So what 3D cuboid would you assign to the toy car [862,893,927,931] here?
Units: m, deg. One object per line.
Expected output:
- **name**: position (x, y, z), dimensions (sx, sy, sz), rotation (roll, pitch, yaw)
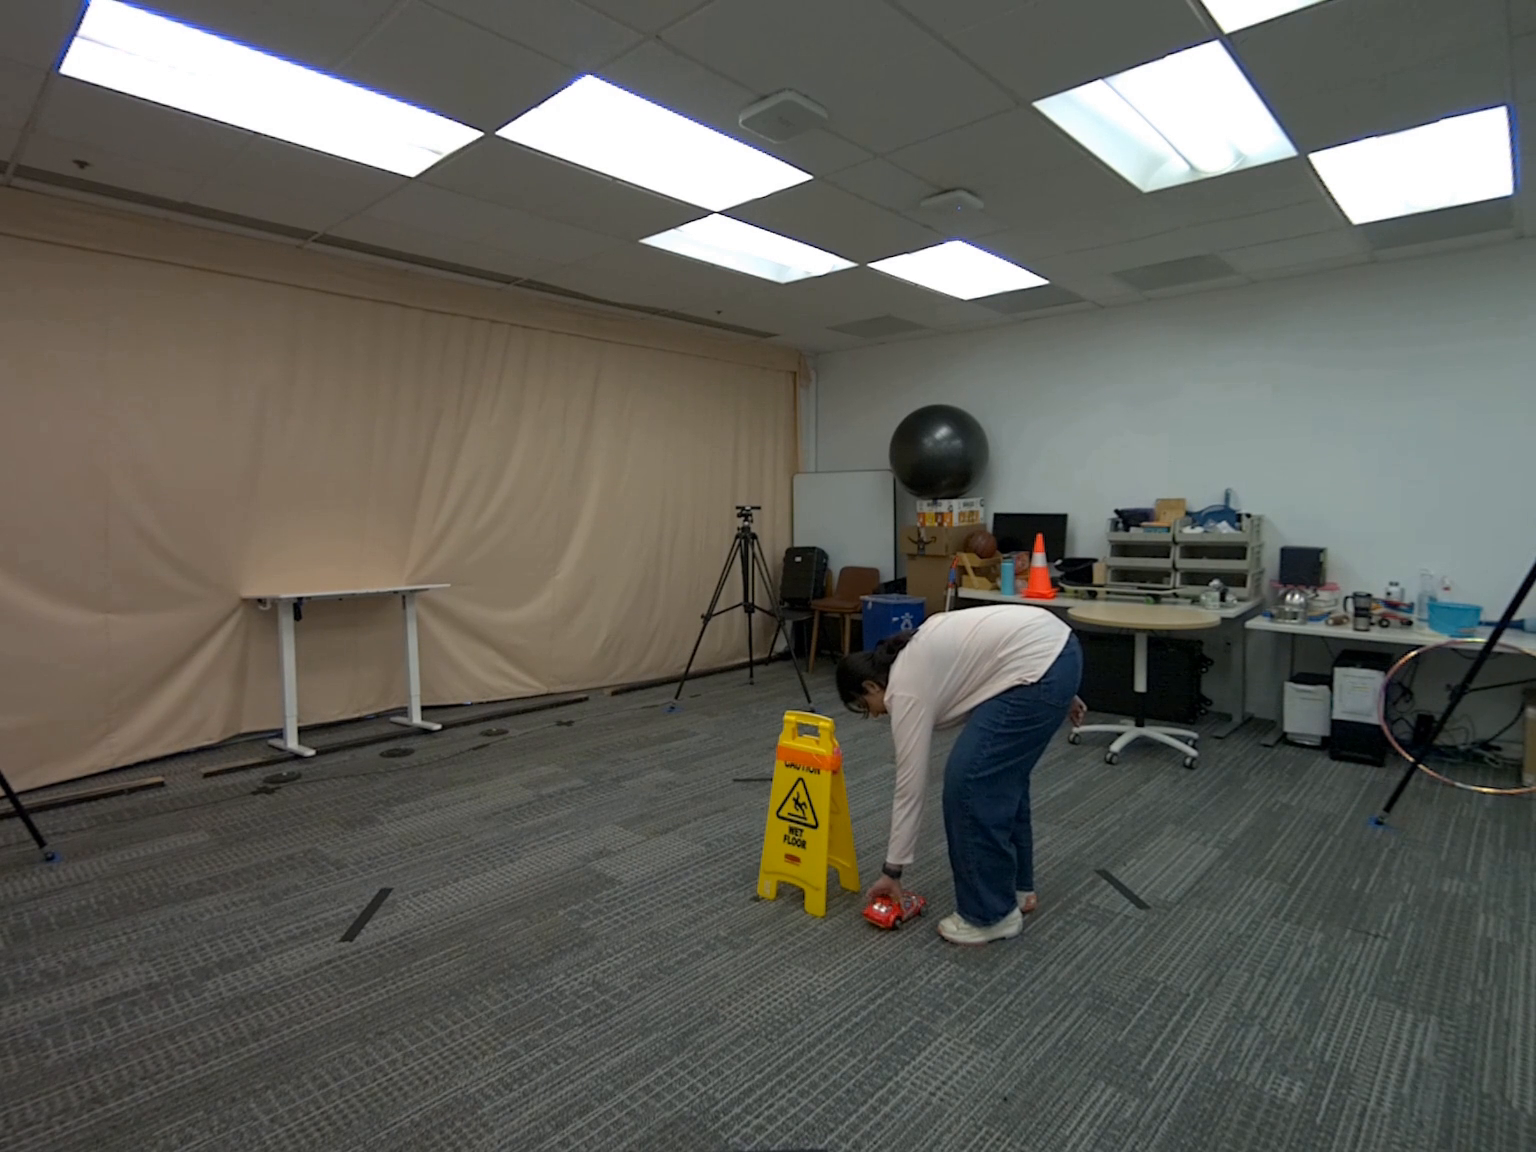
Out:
- **toy car**: position (0.432, 1.124, 2.833), dimensions (0.246, 0.083, 0.134), rotation (5, 1, -40)
